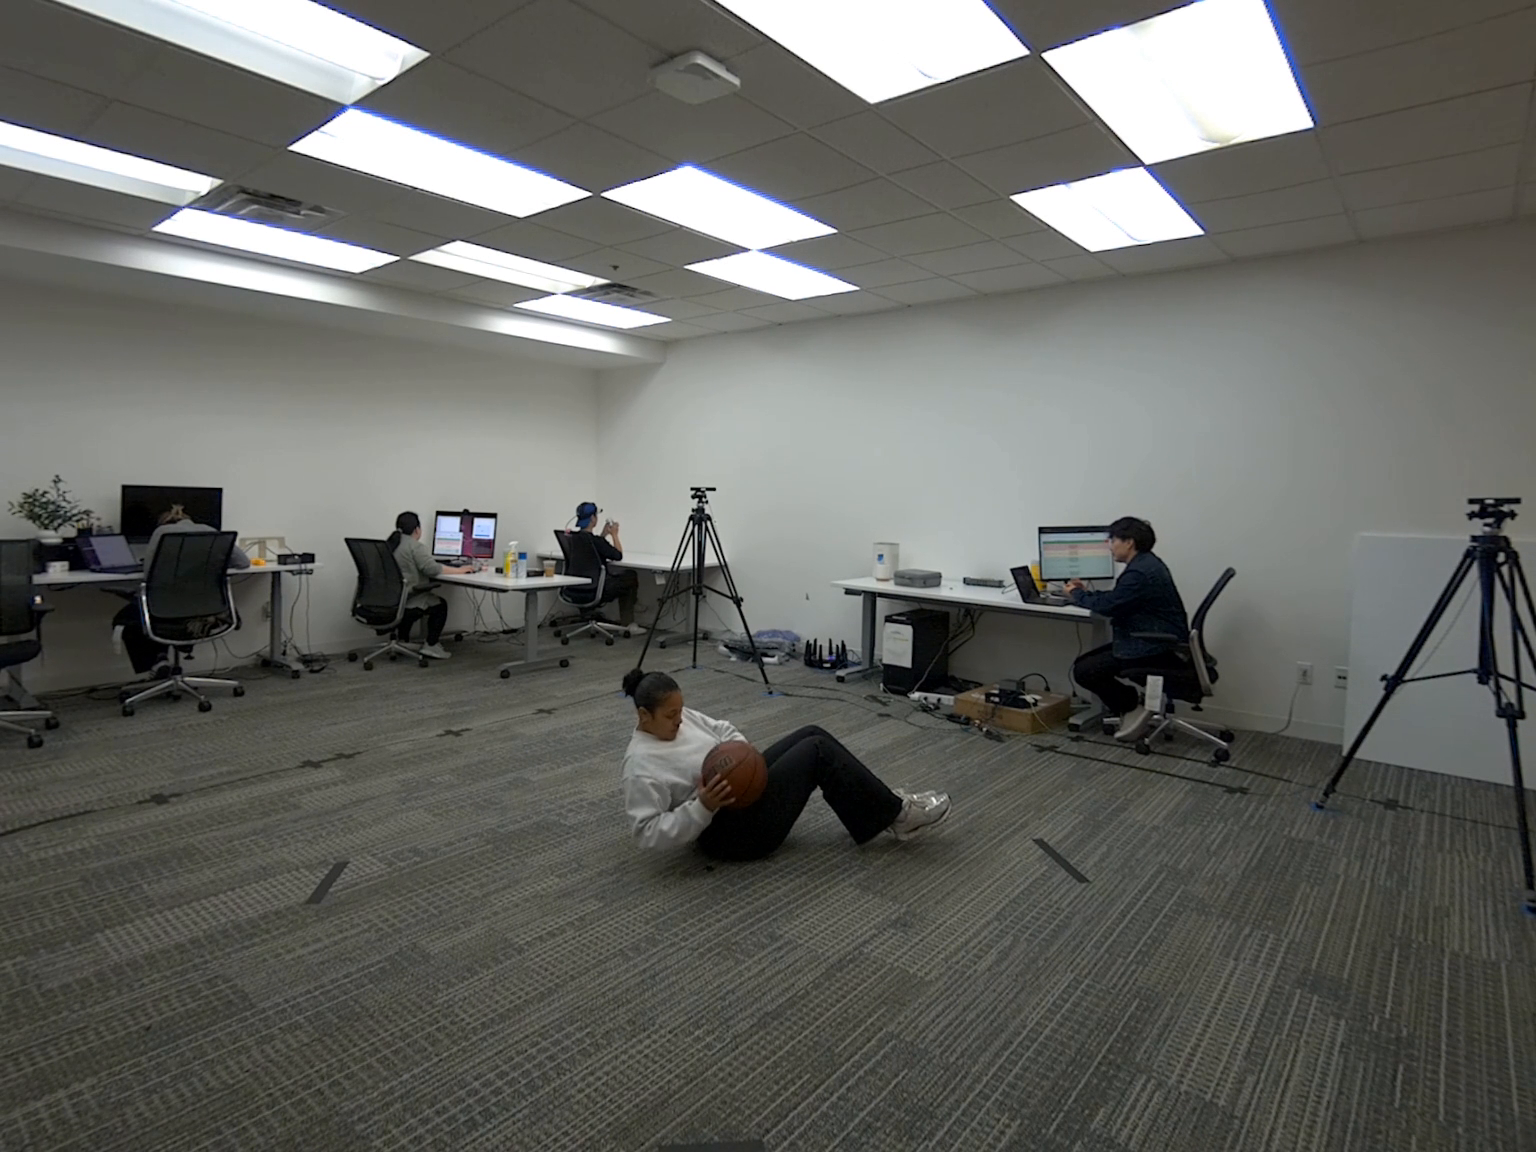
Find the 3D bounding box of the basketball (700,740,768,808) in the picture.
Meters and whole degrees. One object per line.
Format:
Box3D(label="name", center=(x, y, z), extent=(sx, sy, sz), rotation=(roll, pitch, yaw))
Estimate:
Box3D(label="basketball", center=(-0.143, 0.711, 3.073), extent=(0.235, 0.235, 0.237), rotation=(1, 4, -2))
